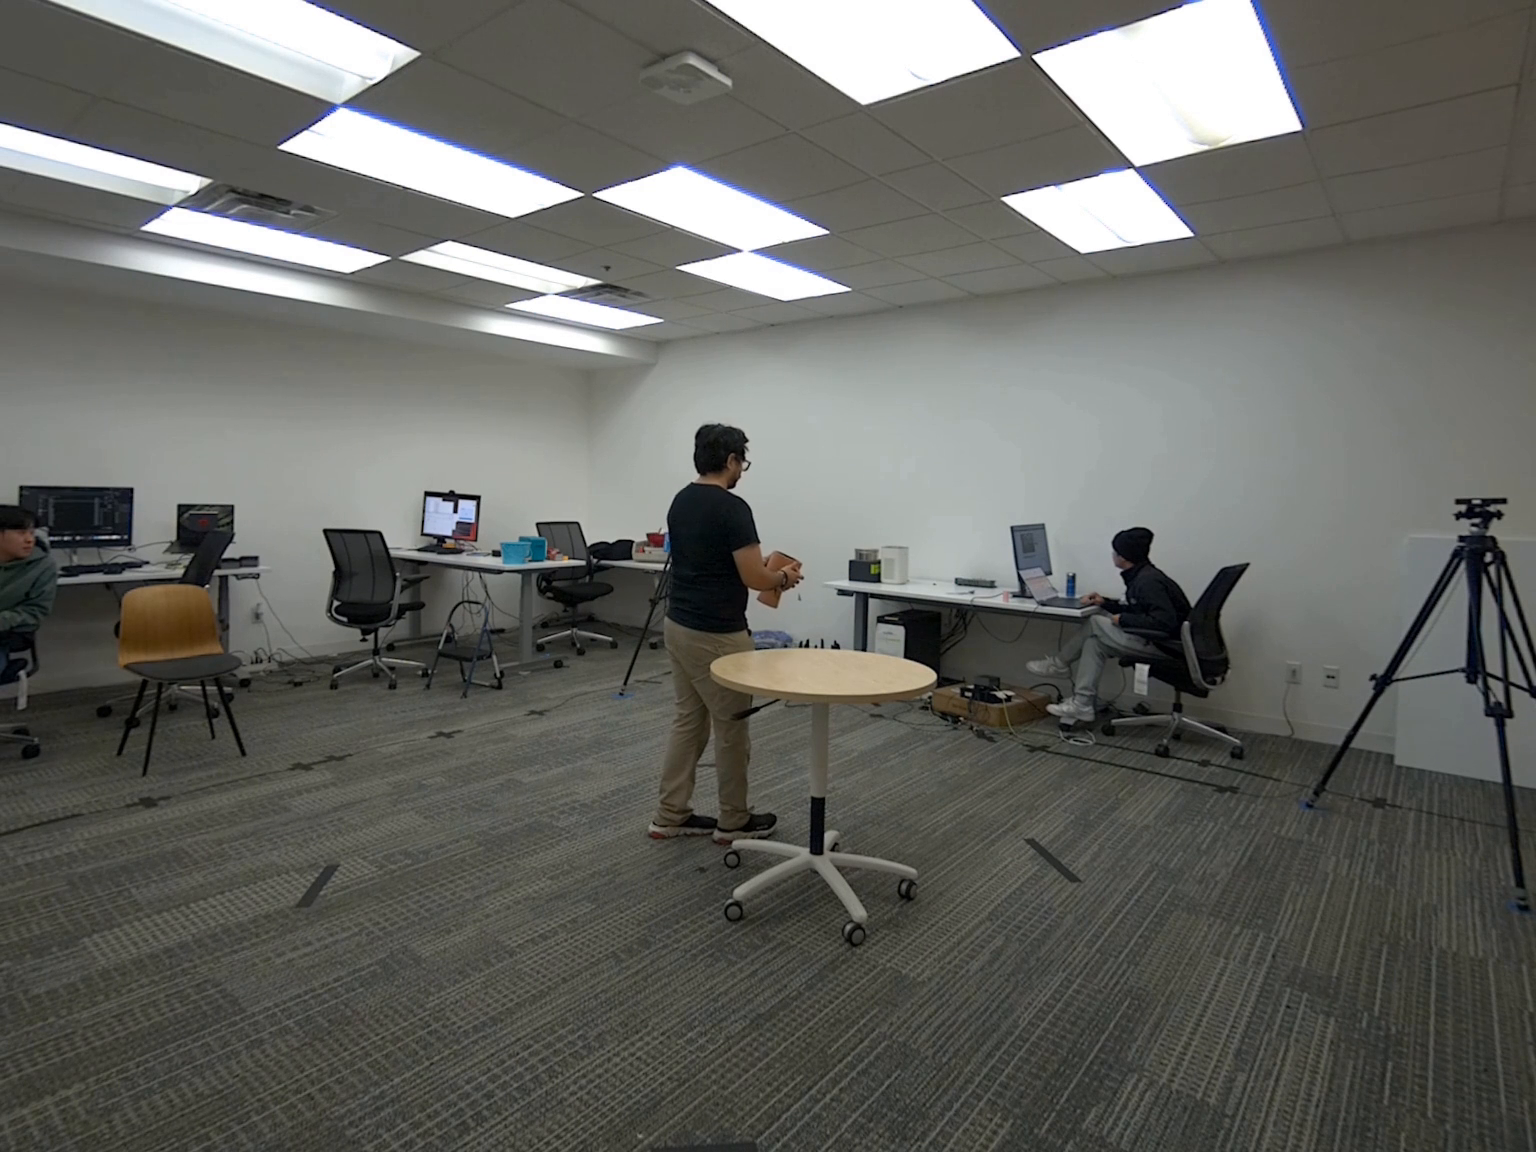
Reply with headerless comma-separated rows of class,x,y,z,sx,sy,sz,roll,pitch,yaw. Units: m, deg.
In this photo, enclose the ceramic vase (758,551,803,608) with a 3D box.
ceramic vase,0.029,0.018,3.587,0.132,0.219,0.162,24,5,-16
